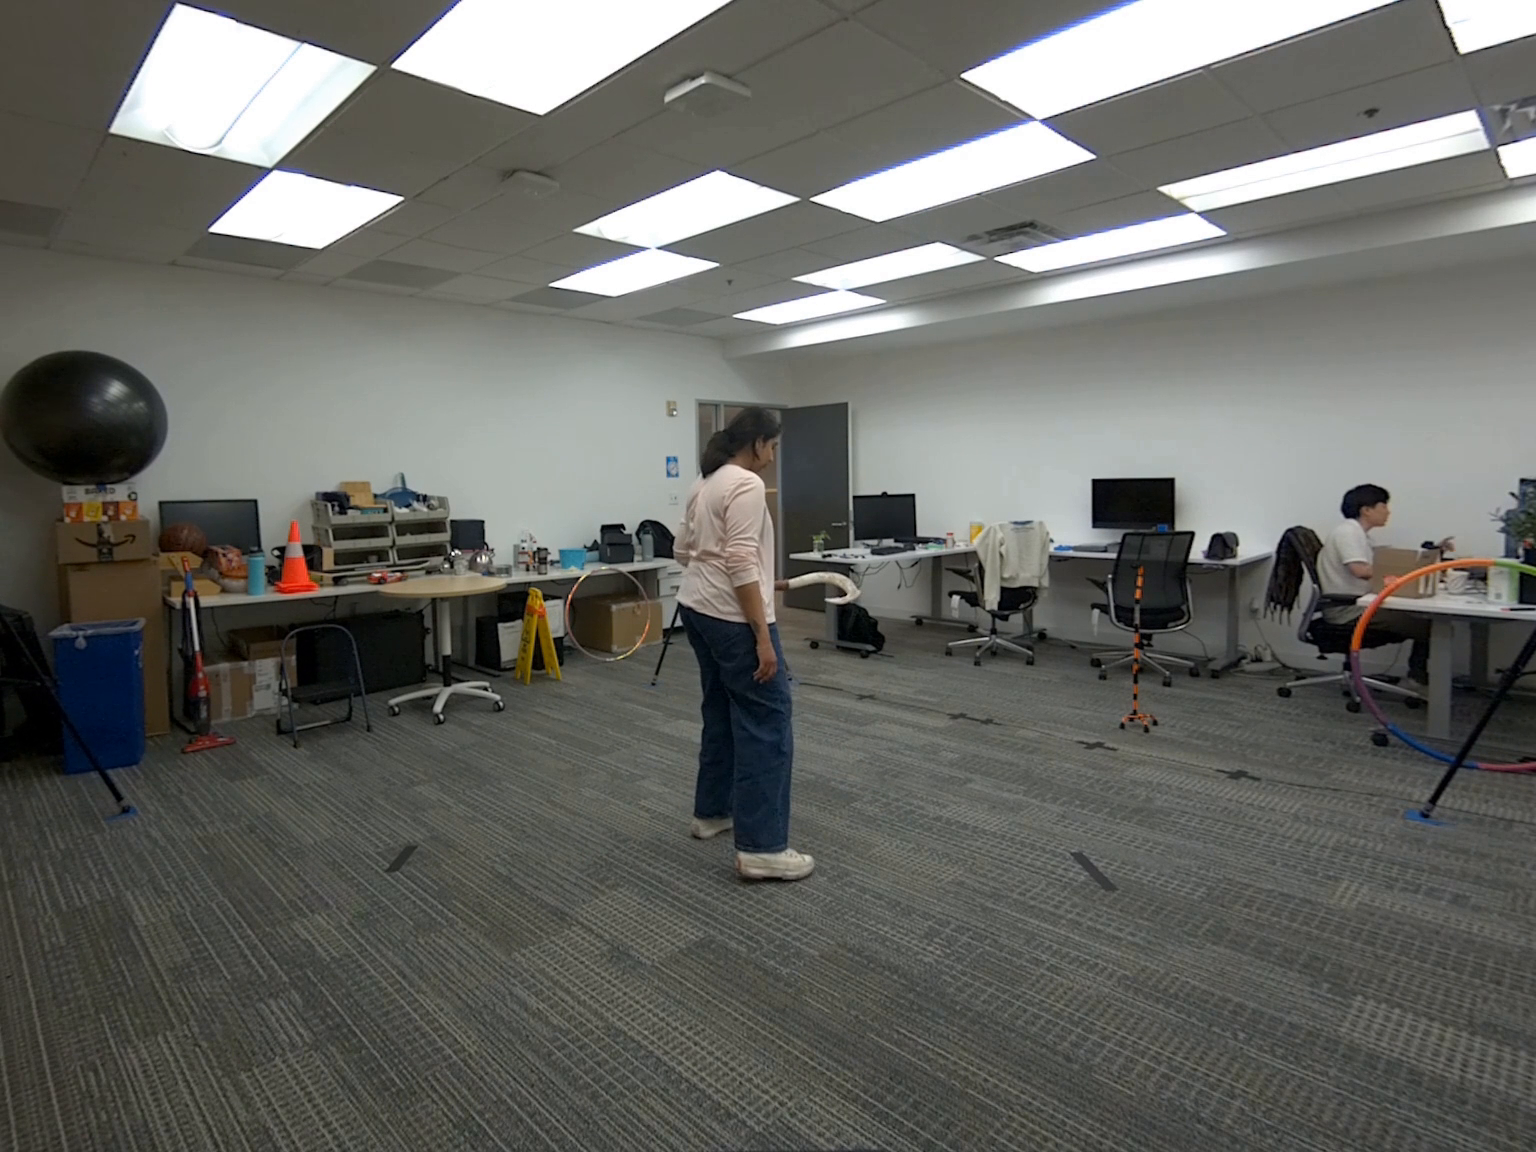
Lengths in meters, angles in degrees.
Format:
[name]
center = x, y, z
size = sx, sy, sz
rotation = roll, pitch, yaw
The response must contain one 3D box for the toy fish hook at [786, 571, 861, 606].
[toy fish hook]
center = 0.146, 0.055, 3.513
size = 0.497, 0.047, 0.233
rotation = -4, 25, -21
